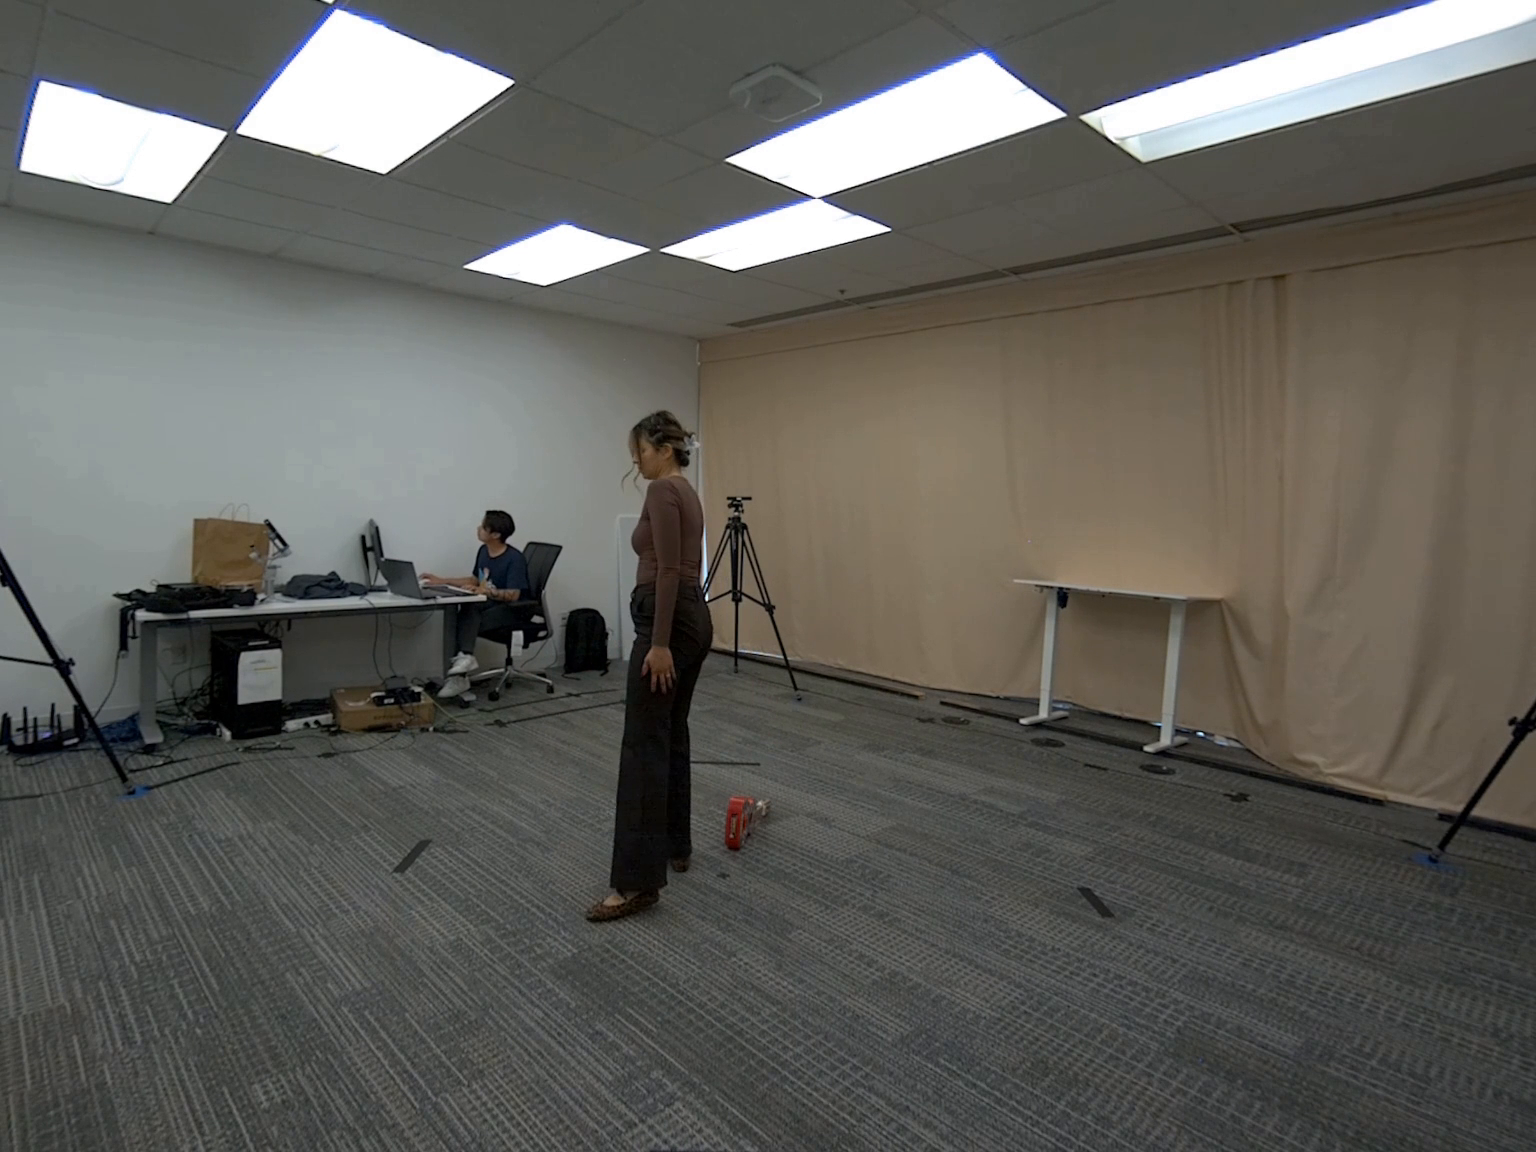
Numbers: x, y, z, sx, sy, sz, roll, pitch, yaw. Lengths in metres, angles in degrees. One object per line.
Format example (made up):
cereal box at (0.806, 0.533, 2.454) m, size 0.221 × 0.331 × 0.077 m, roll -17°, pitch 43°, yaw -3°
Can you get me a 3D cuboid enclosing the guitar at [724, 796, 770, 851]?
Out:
guitar at (-0.084, 1.021, 3.531) m, size 0.071 × 0.195 × 0.487 m, roll 3°, pitch -13°, yaw 15°
